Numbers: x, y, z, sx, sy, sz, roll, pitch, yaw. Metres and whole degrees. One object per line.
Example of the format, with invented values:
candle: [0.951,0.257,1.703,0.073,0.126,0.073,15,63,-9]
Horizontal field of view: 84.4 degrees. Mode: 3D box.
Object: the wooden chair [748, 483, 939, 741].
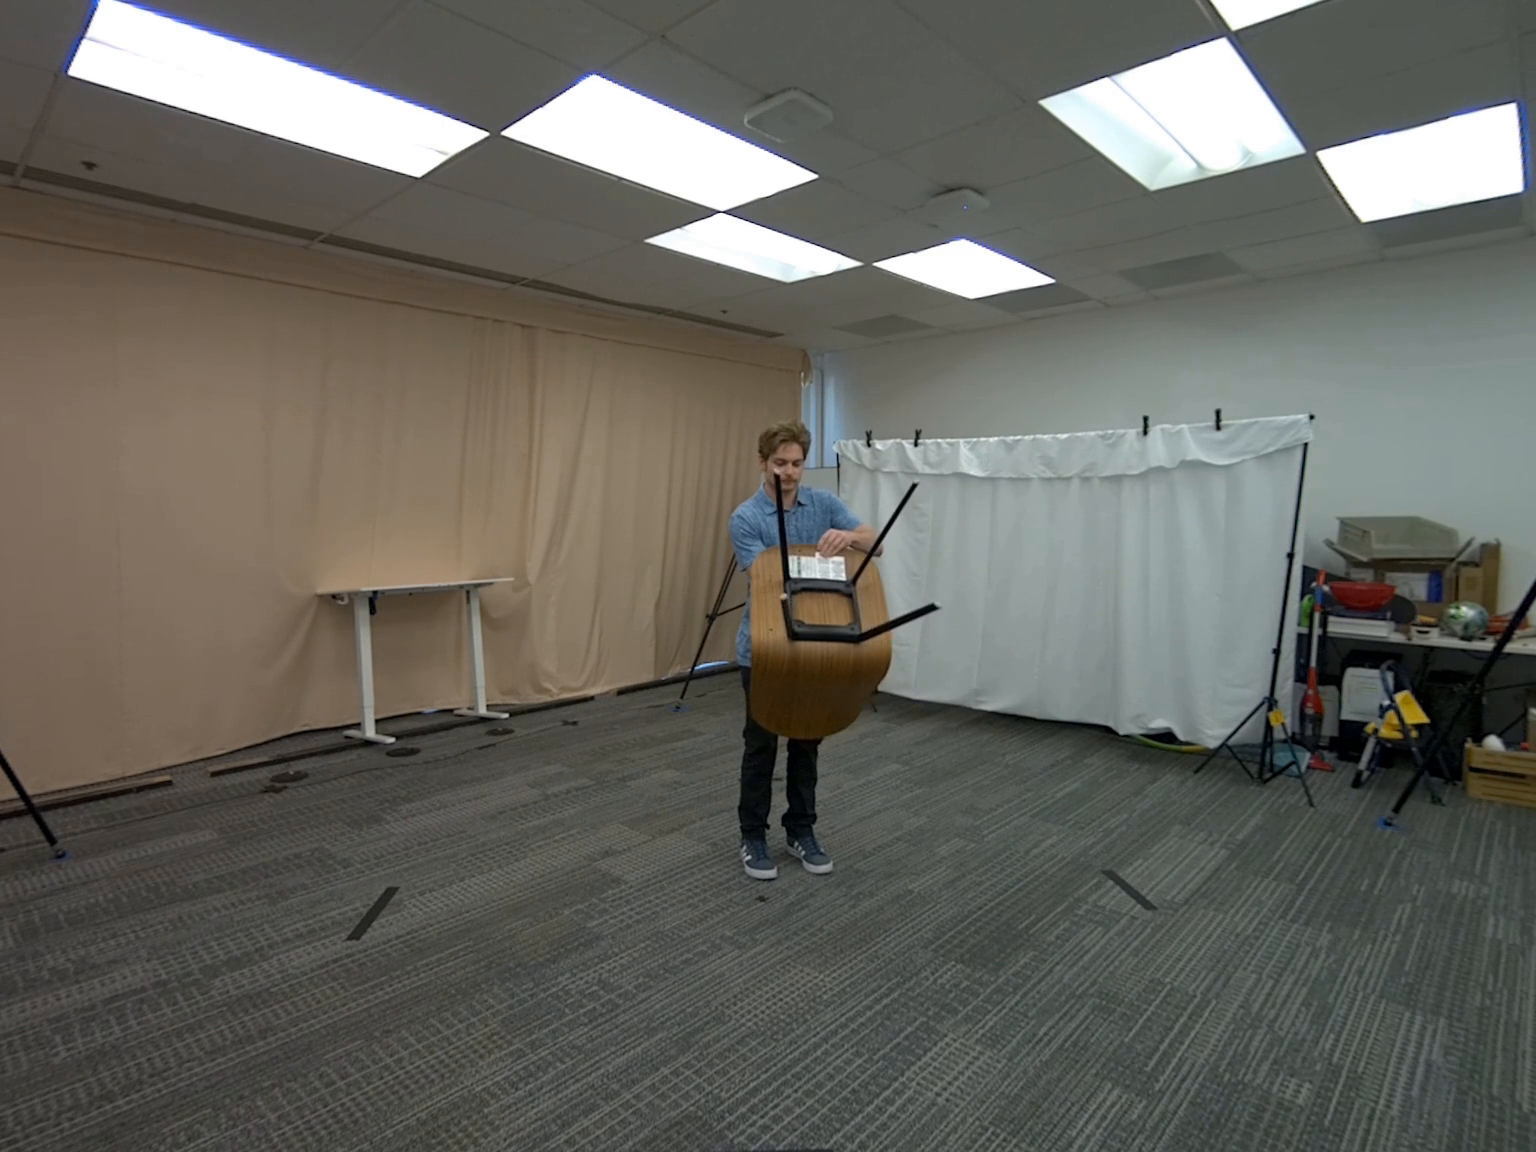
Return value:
wooden chair: [0.191,0.106,2.785,0.475,0.533,0.867,4,-38,-8]
